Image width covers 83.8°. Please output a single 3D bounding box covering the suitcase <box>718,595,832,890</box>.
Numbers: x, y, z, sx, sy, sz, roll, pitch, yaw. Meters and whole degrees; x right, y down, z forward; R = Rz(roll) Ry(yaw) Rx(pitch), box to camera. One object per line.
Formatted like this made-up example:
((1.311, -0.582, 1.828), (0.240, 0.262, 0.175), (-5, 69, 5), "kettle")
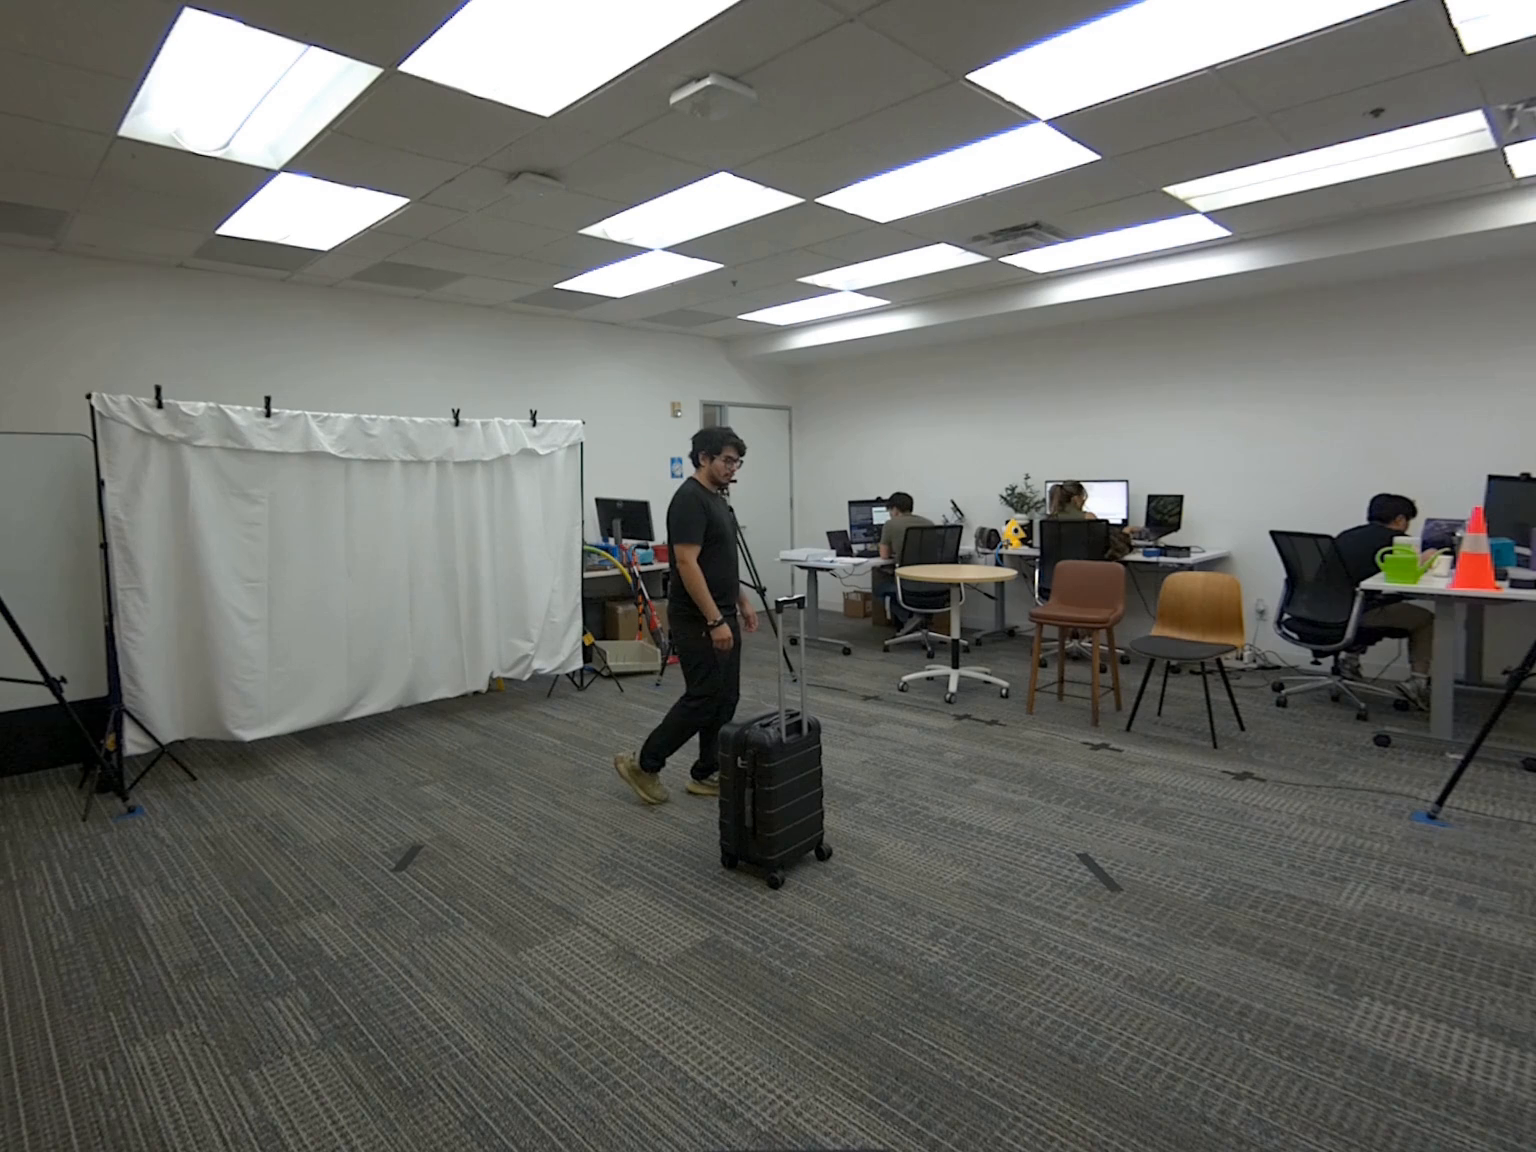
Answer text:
((0.009, 0.570, 3.090), (0.264, 0.977, 0.374), (-1, 3, 38), "suitcase")
